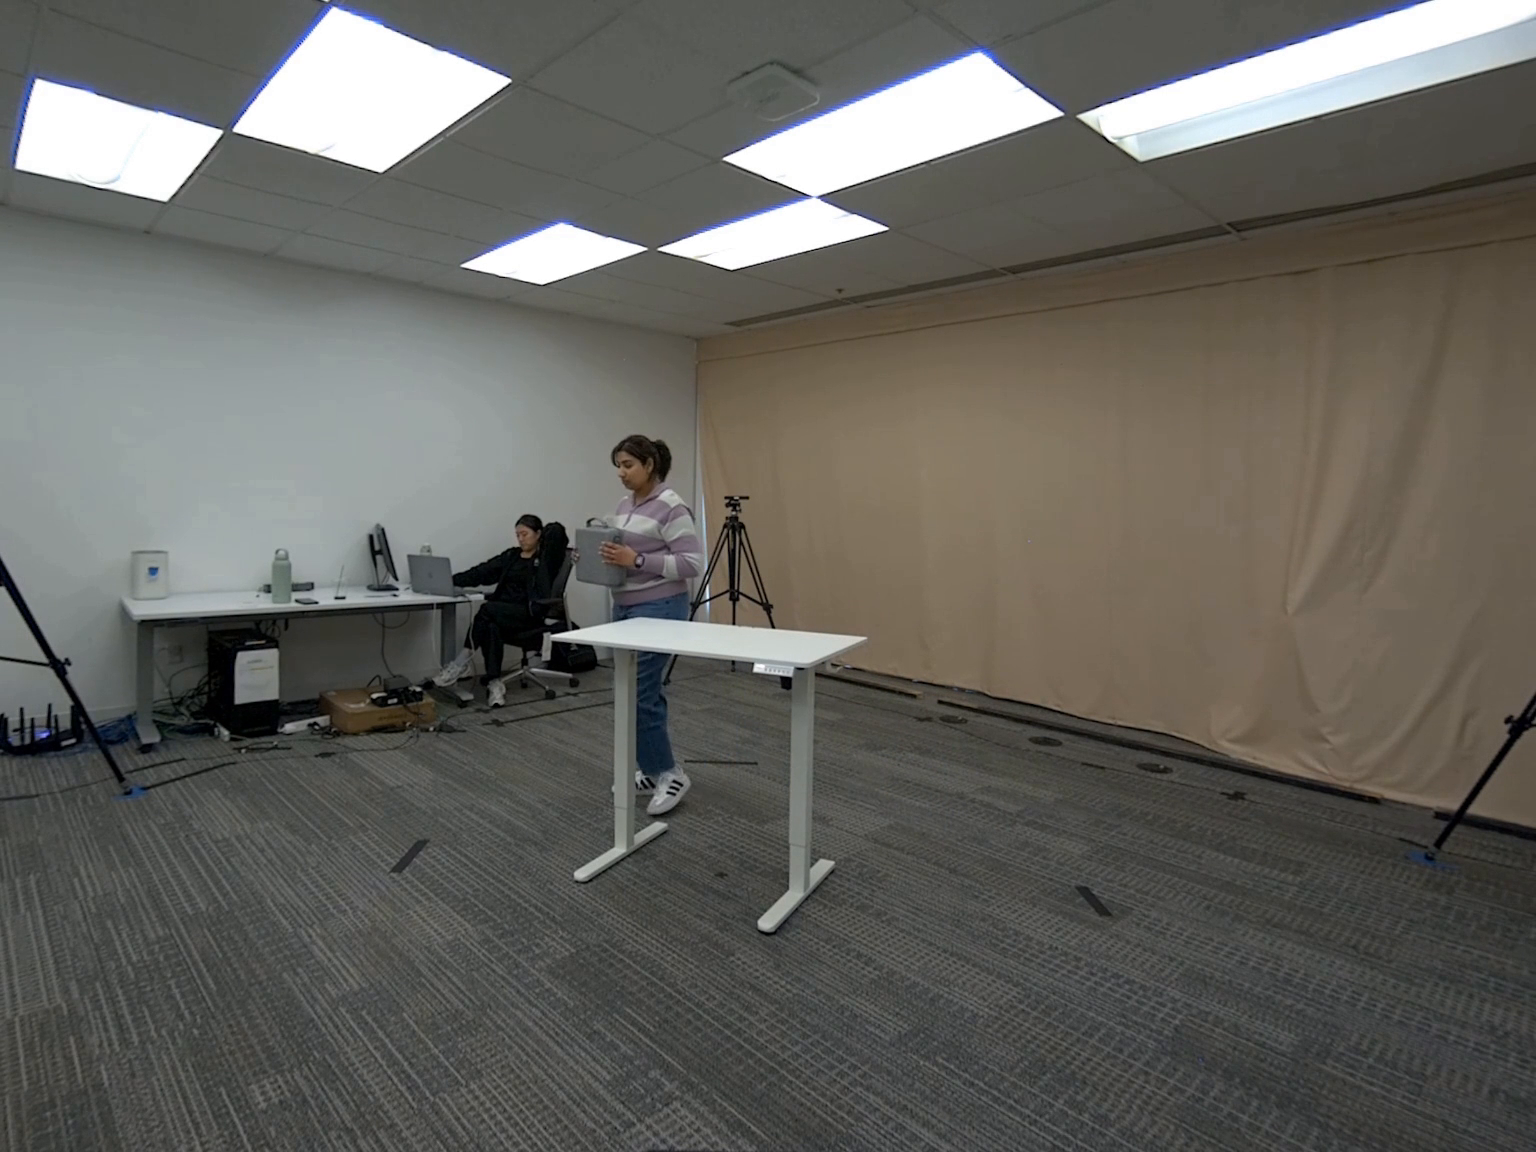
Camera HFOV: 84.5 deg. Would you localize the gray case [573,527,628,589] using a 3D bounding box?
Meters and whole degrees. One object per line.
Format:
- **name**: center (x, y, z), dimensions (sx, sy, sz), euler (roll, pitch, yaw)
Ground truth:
- **gray case**: center (-0.758, -0.091, 3.690), dimensions (0.264, 0.259, 0.102), euler (7, 11, 41)
